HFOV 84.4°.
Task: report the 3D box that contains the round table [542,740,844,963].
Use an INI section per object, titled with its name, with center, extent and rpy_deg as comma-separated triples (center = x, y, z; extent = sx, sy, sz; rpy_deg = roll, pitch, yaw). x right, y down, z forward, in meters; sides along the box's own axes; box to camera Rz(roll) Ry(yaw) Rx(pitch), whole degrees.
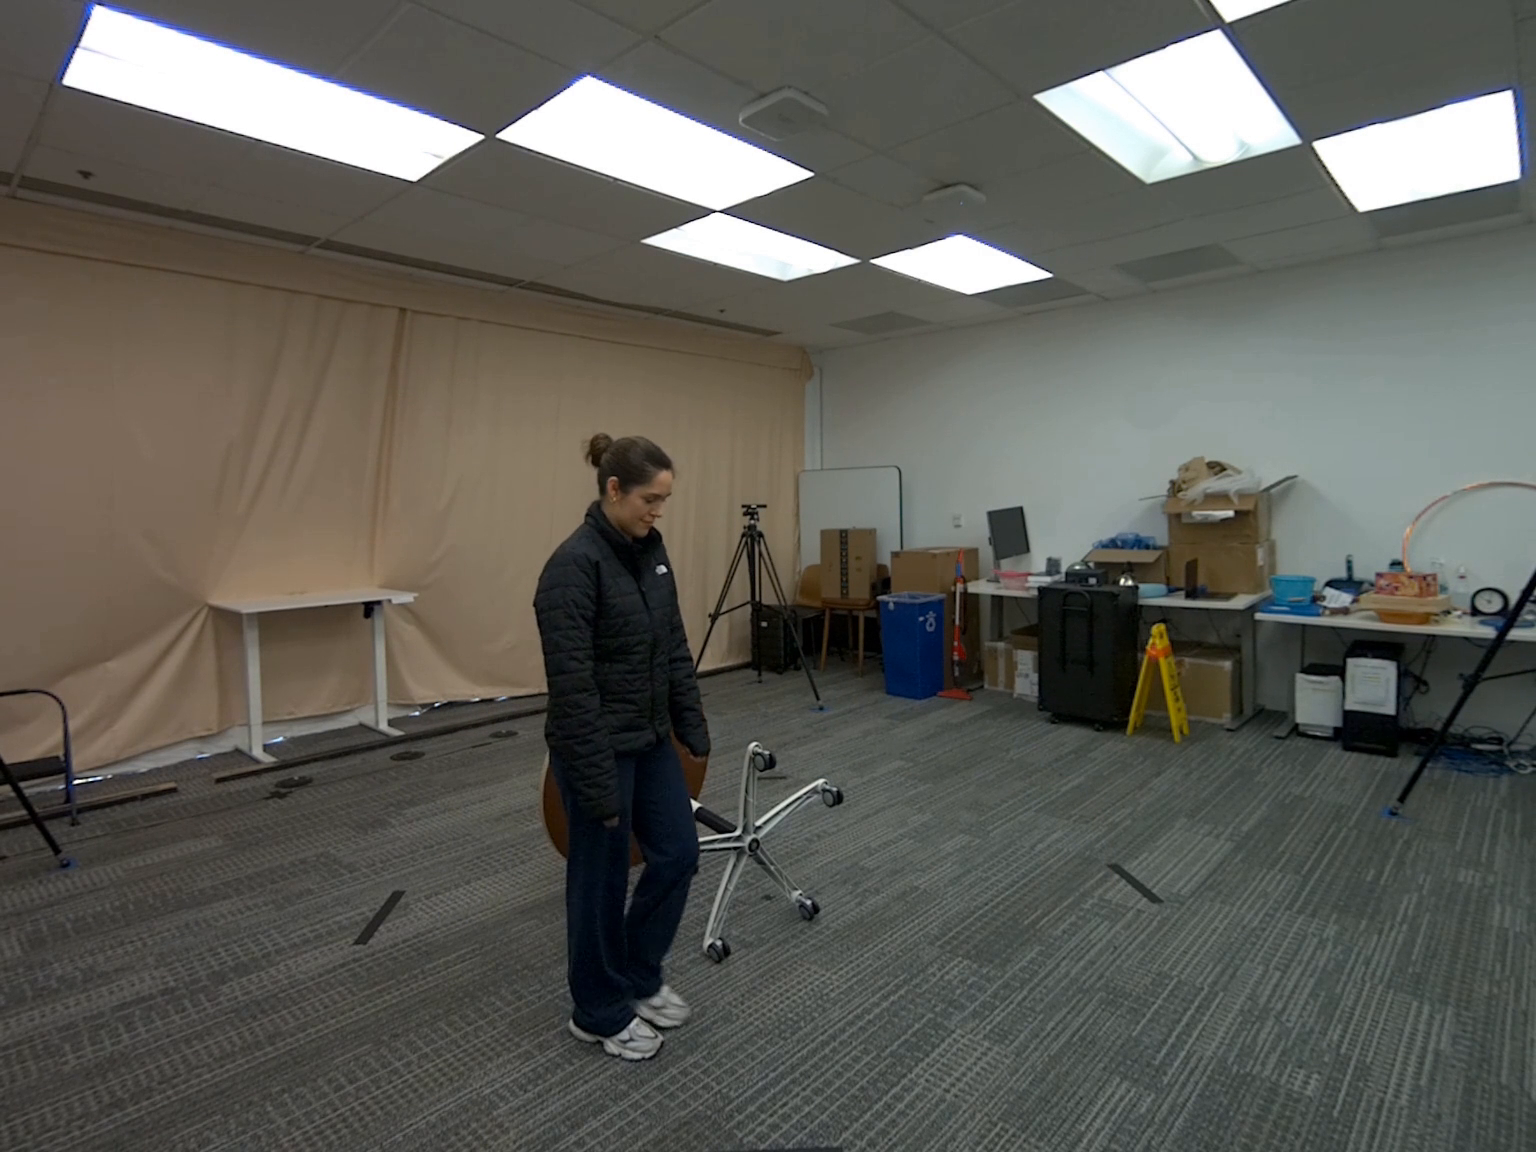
[round table]
center = -0.248, 0.812, 2.924
extent = 0.761, 0.781, 0.814
rpy_deg = -4, 11, -43
